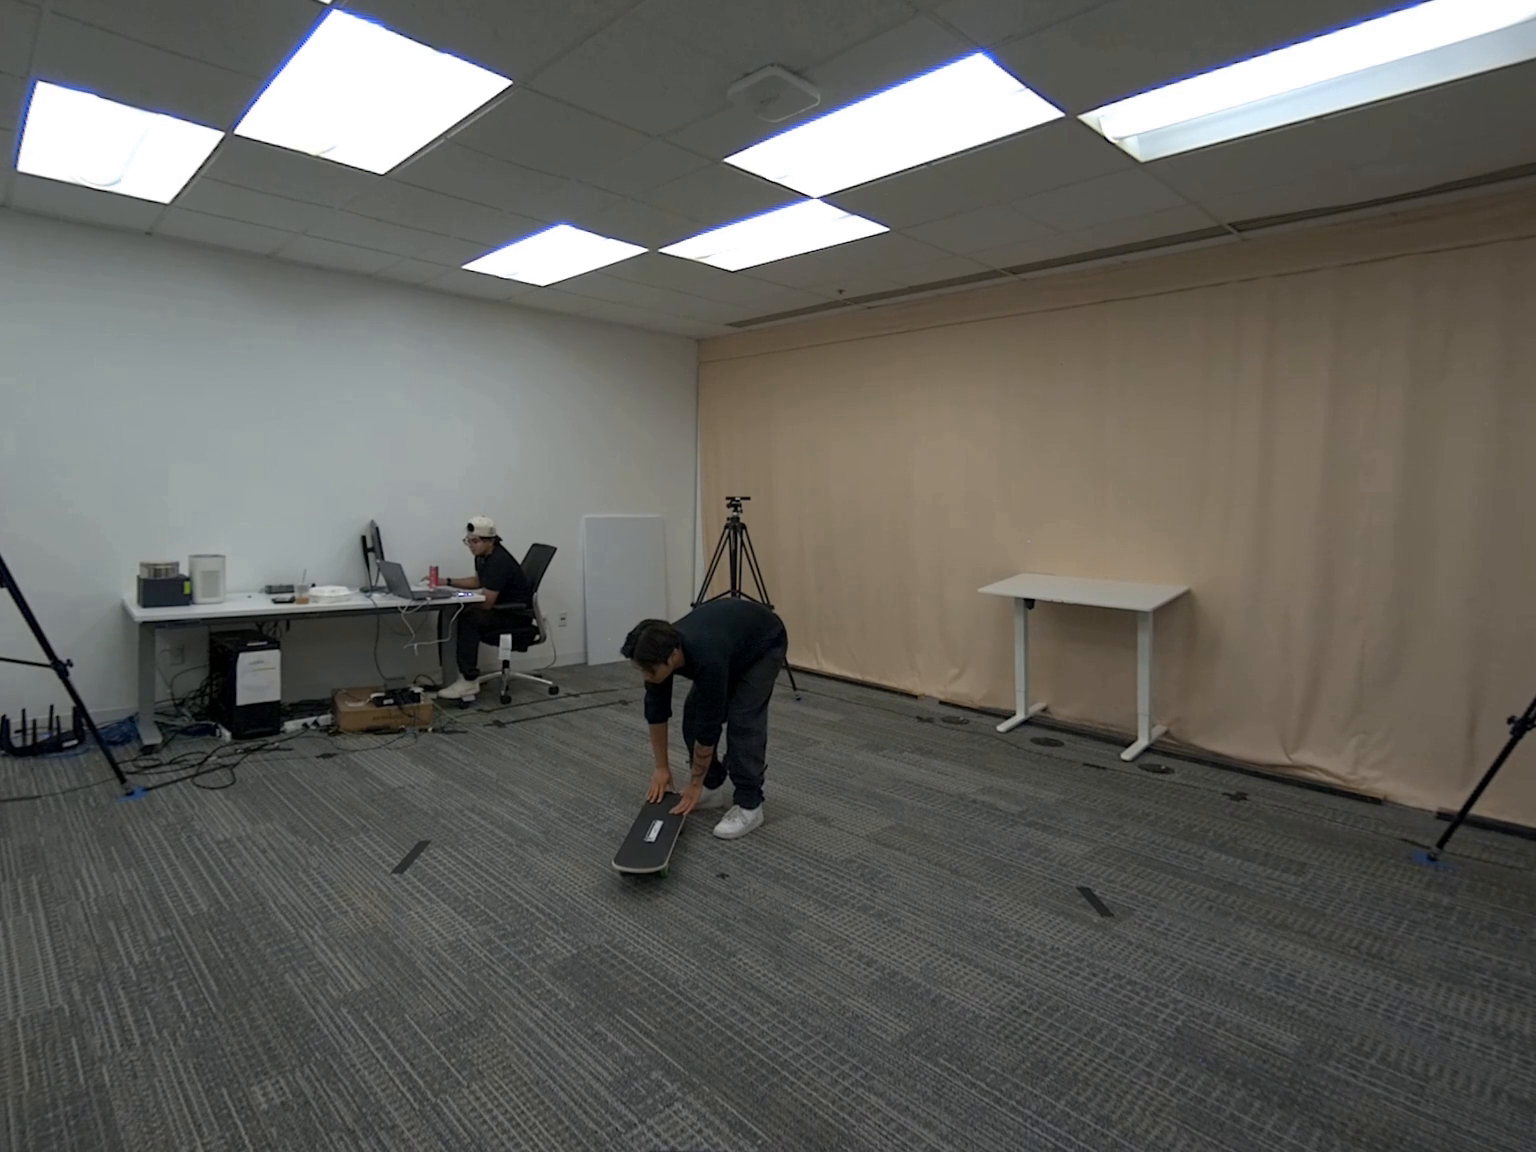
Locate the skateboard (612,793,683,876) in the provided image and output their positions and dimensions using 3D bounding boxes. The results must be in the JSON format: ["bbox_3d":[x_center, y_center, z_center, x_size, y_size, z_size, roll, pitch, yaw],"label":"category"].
[{"bbox_3d":[-0.461,1.030,3.282,0.194,0.110,0.785,1,5,2],"label":"skateboard"}]
